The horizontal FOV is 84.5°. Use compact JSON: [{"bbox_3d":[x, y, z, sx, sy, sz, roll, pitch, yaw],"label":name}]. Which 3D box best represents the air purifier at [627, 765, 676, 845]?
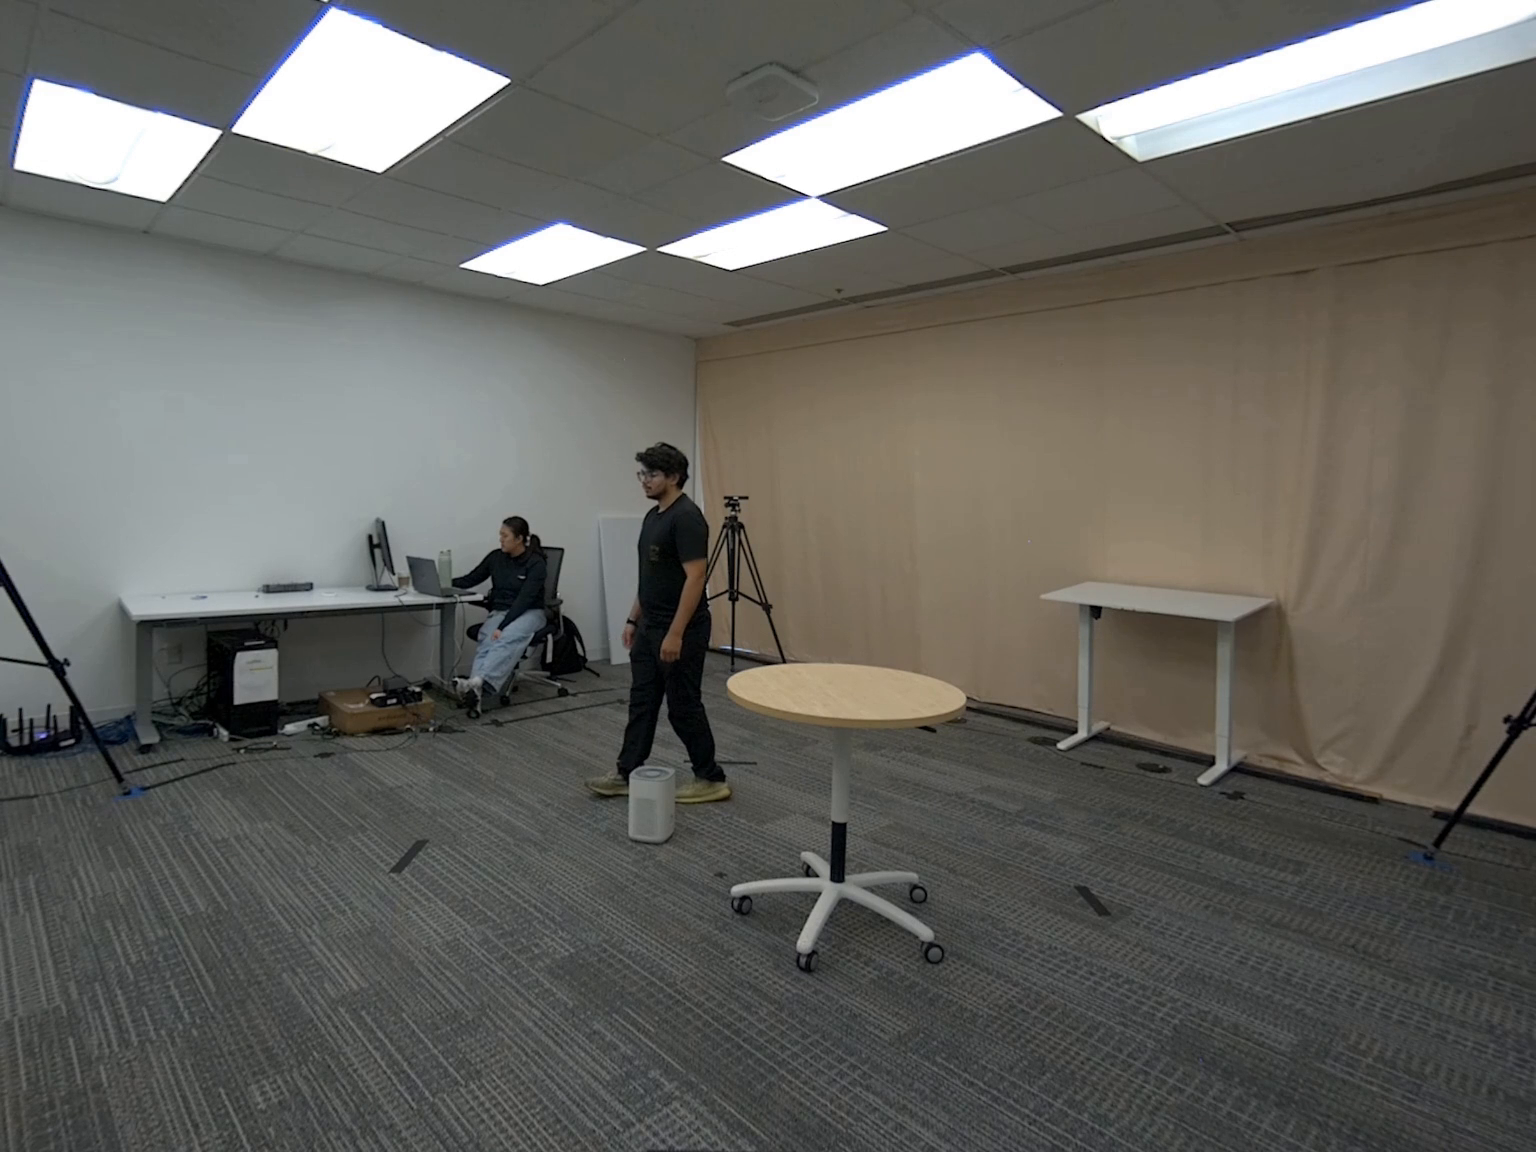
[{"bbox_3d":[-0.484,0.933,3.435,0.176,0.261,0.166,3,4,16],"label":"air purifier"}]
